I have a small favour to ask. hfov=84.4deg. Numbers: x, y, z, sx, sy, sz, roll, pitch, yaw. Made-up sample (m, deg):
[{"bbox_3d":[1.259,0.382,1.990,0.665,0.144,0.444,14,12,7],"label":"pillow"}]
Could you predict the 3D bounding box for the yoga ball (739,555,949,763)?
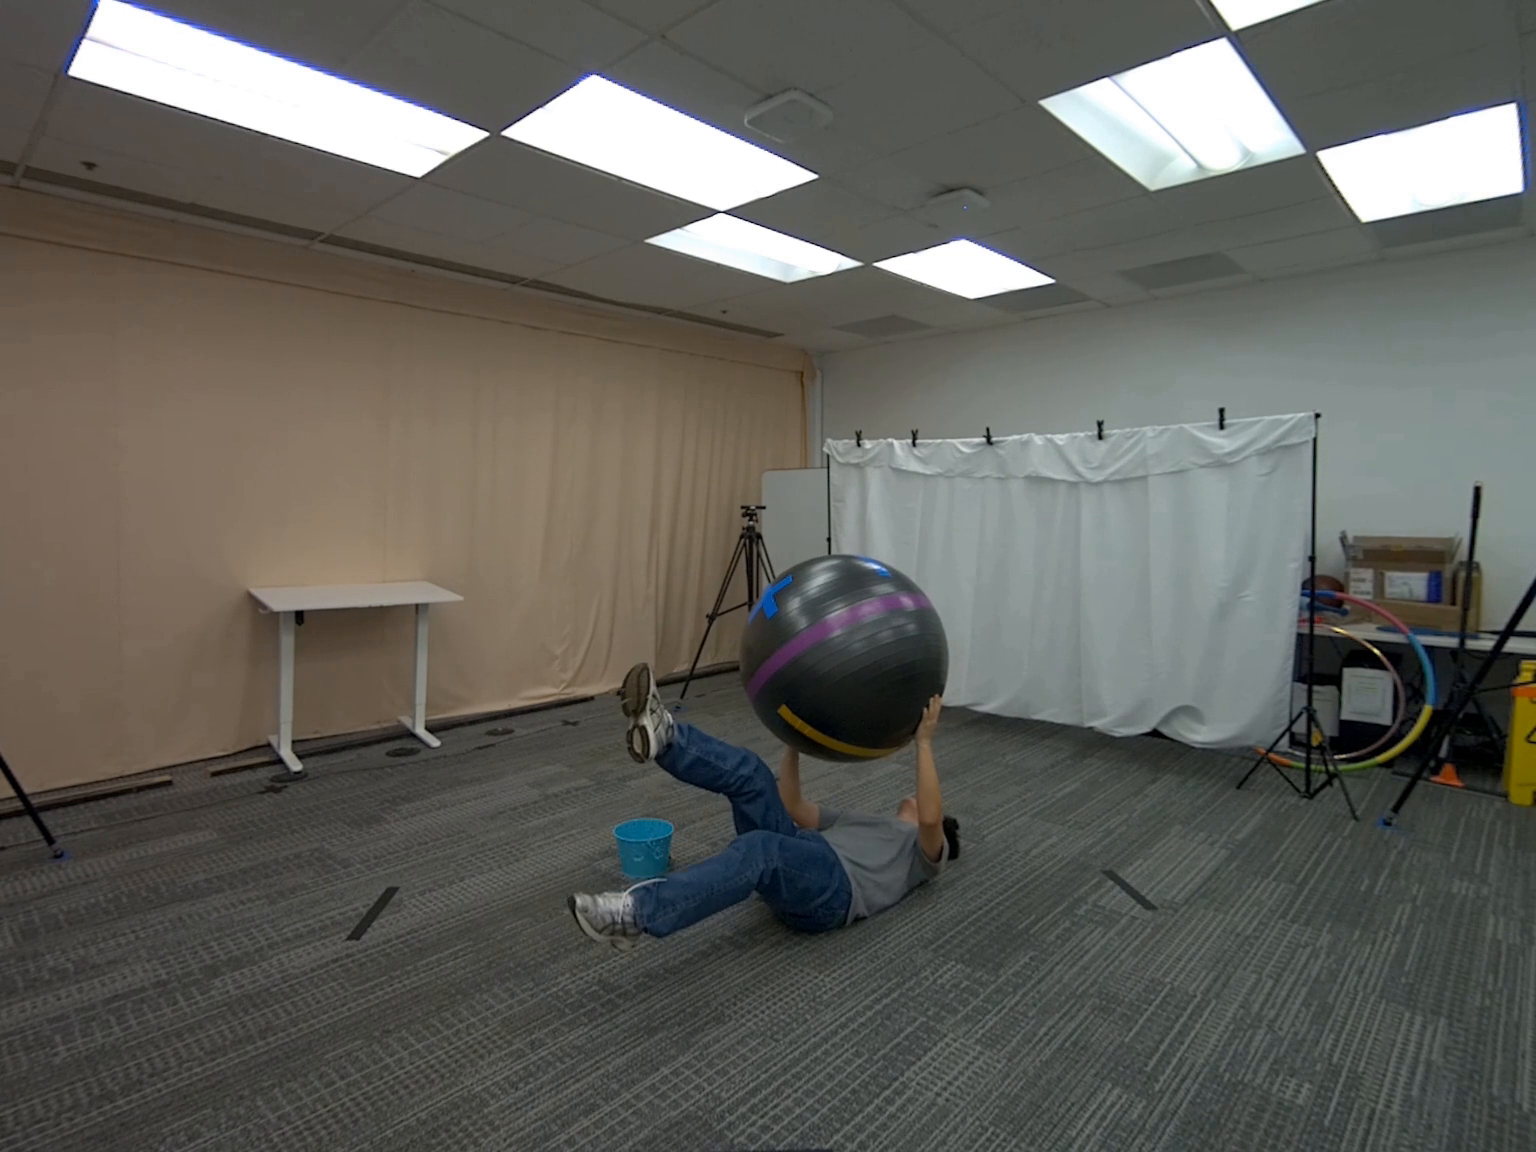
[{"bbox_3d":[0.278,0.307,3.111,0.757,0.756,0.760,0,4,-2],"label":"yoga ball"}]
